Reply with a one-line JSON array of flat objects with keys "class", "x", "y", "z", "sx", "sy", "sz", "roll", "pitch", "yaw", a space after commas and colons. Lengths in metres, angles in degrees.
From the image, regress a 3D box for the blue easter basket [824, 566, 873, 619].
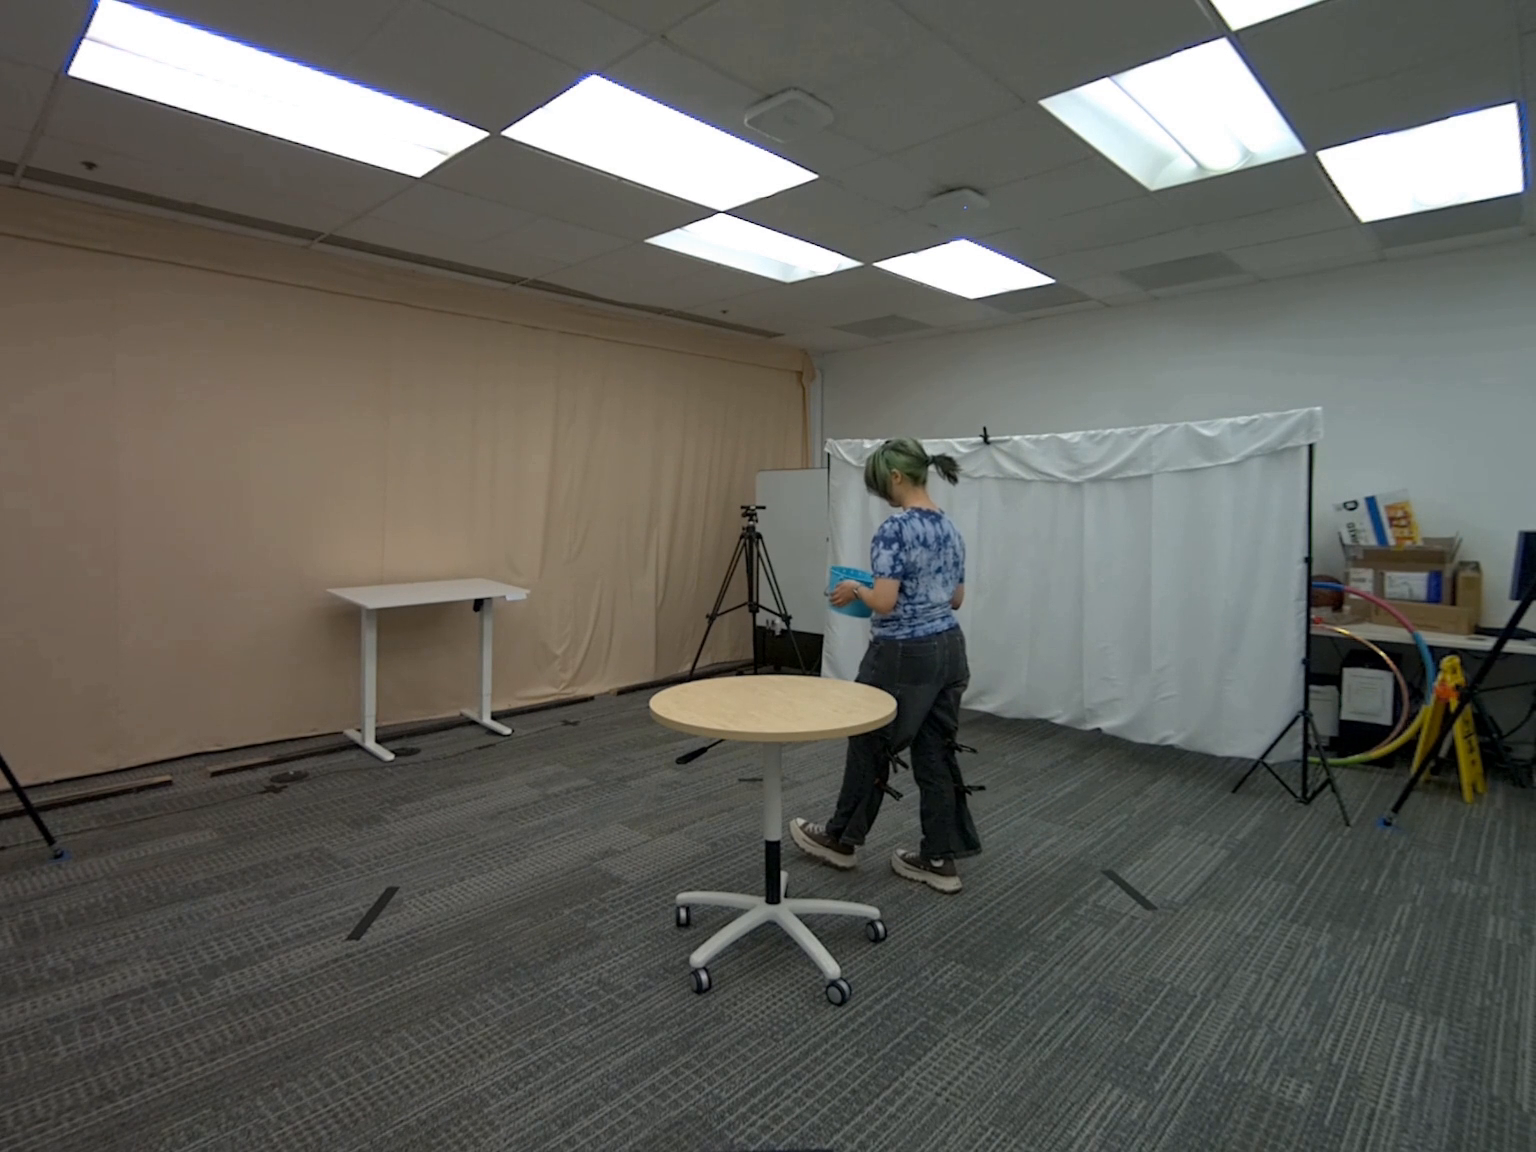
[{"class": "blue easter basket", "x": 0.368, "y": 0.072, "z": 3.358, "sx": 0.243, "sy": 0.155, "sz": 0.245, "roll": 10, "pitch": 11, "yaw": -4}]
